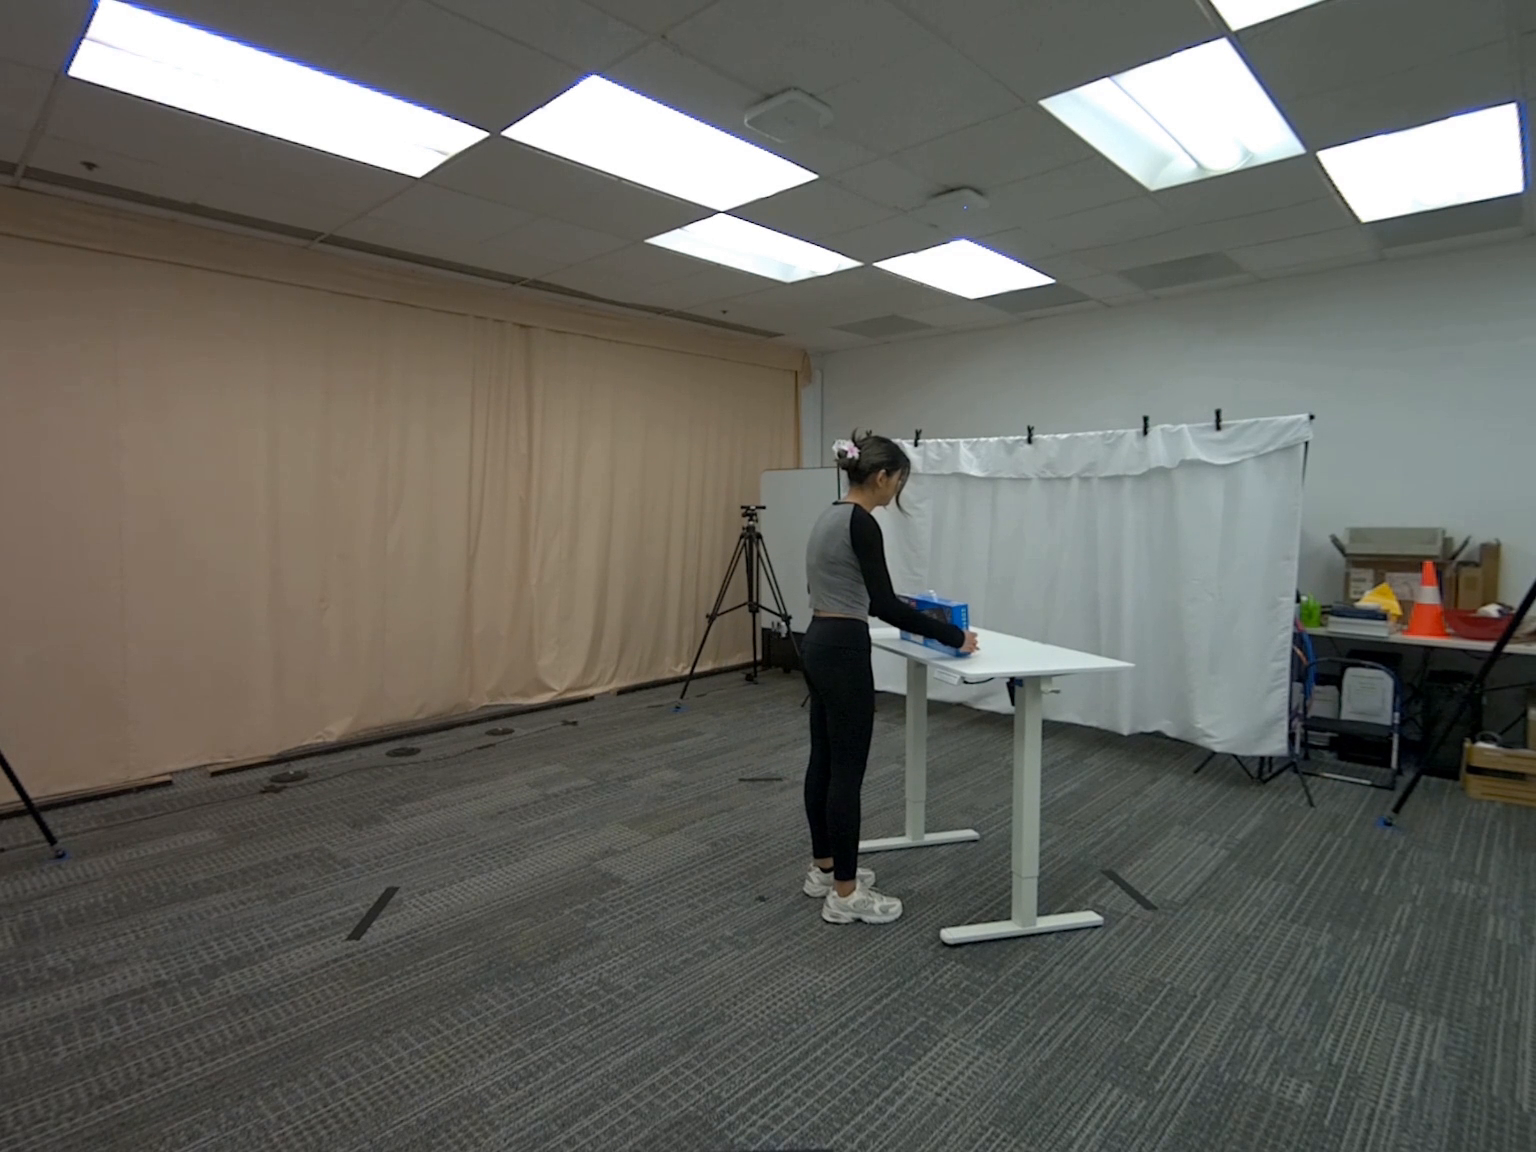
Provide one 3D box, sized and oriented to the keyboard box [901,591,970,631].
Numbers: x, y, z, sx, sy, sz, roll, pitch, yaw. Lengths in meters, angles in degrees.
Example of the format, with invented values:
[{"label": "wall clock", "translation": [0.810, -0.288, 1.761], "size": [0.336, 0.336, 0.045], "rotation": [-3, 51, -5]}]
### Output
[{"label": "keyboard box", "translation": [0.593, 0.169, 3.000], "size": [0.058, 0.175, 0.444], "rotation": [-6, 5, -16]}]
